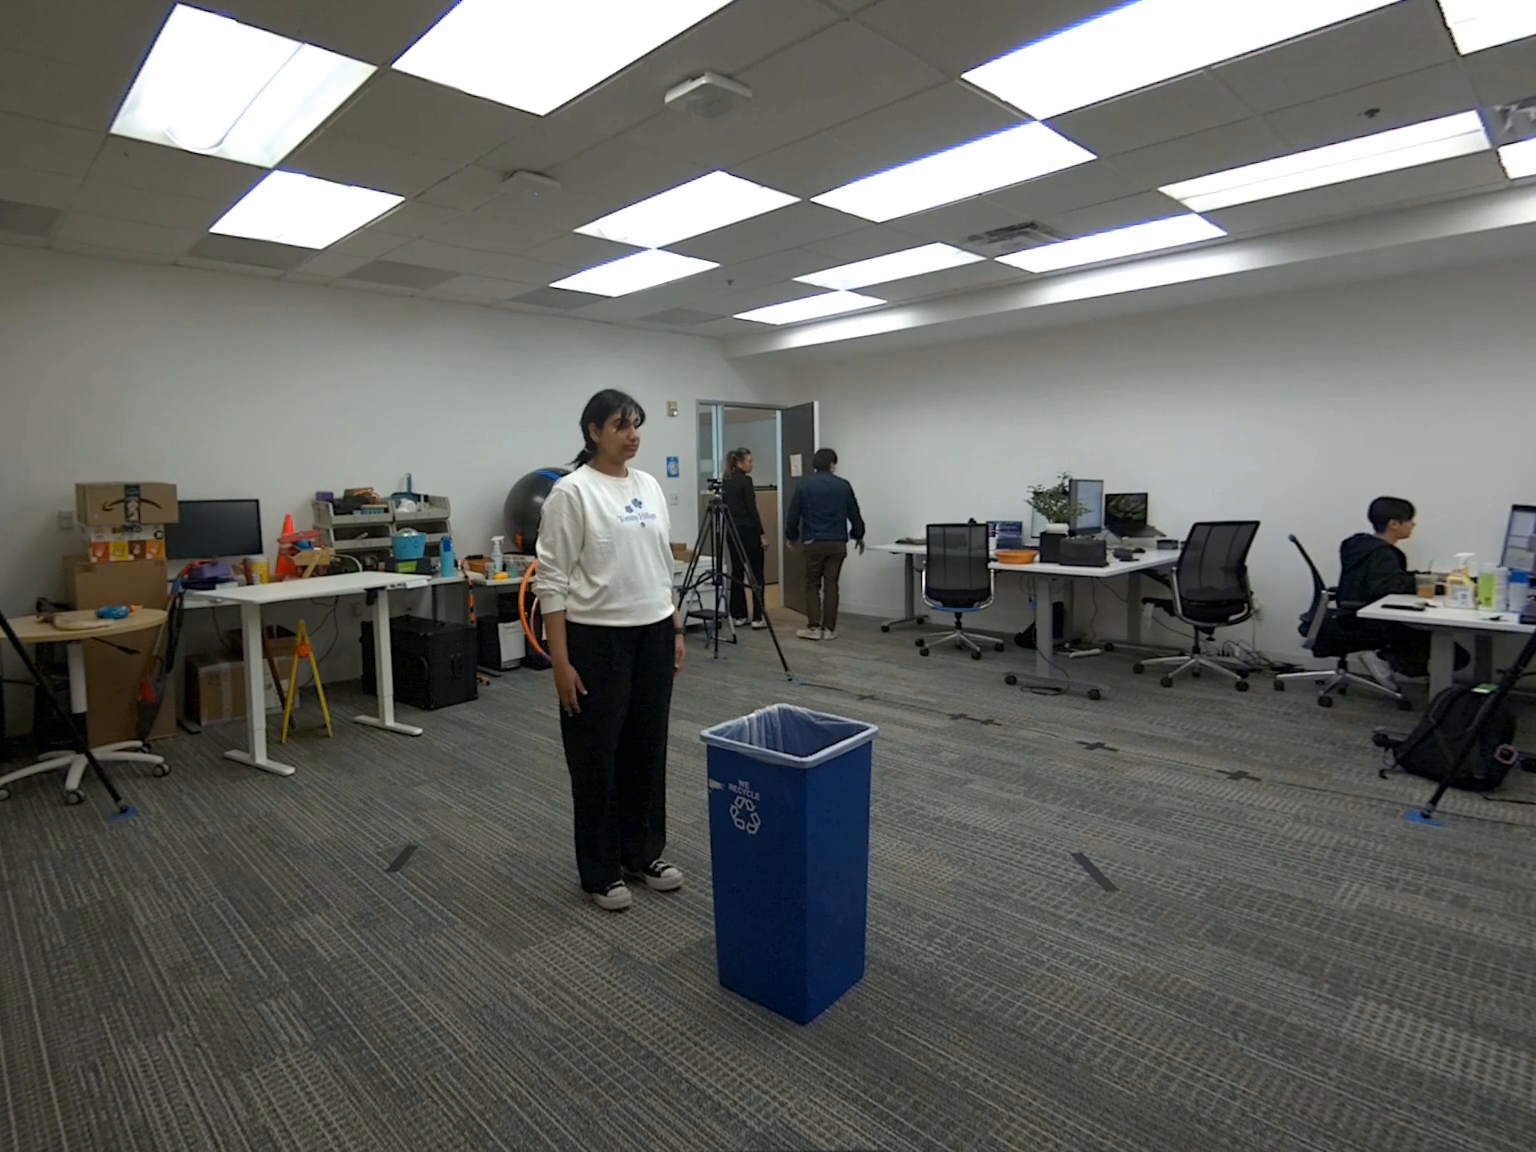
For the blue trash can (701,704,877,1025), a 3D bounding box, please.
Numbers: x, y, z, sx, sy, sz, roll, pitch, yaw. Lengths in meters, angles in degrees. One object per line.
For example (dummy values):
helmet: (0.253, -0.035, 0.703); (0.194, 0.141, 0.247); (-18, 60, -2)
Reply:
blue trash can: (0.074, 0.772, 2.362); (0.385, 0.711, 0.368); (2, 6, 39)
